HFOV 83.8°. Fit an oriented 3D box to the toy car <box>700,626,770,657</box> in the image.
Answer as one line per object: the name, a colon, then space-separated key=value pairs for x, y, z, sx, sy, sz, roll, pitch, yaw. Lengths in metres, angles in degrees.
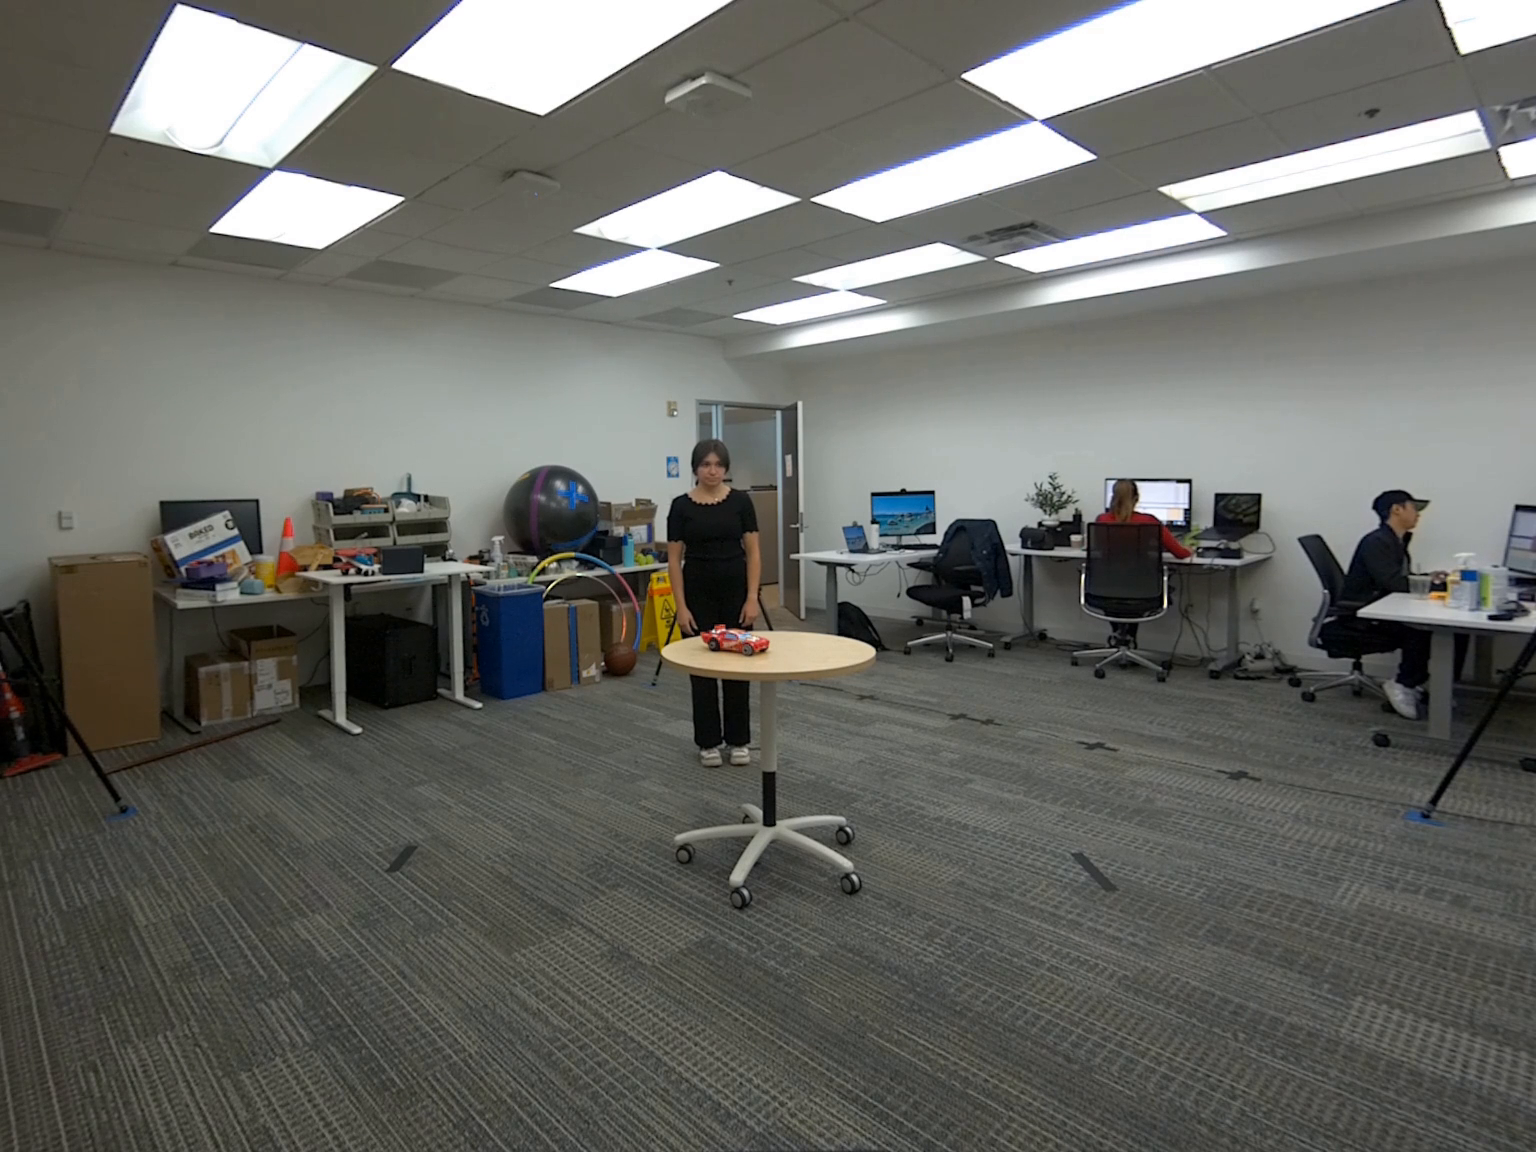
toy car: x=-0.127 y=0.238 z=3.054 sx=0.263 sy=0.082 sz=0.127 roll=16 pitch=13 yaw=34
